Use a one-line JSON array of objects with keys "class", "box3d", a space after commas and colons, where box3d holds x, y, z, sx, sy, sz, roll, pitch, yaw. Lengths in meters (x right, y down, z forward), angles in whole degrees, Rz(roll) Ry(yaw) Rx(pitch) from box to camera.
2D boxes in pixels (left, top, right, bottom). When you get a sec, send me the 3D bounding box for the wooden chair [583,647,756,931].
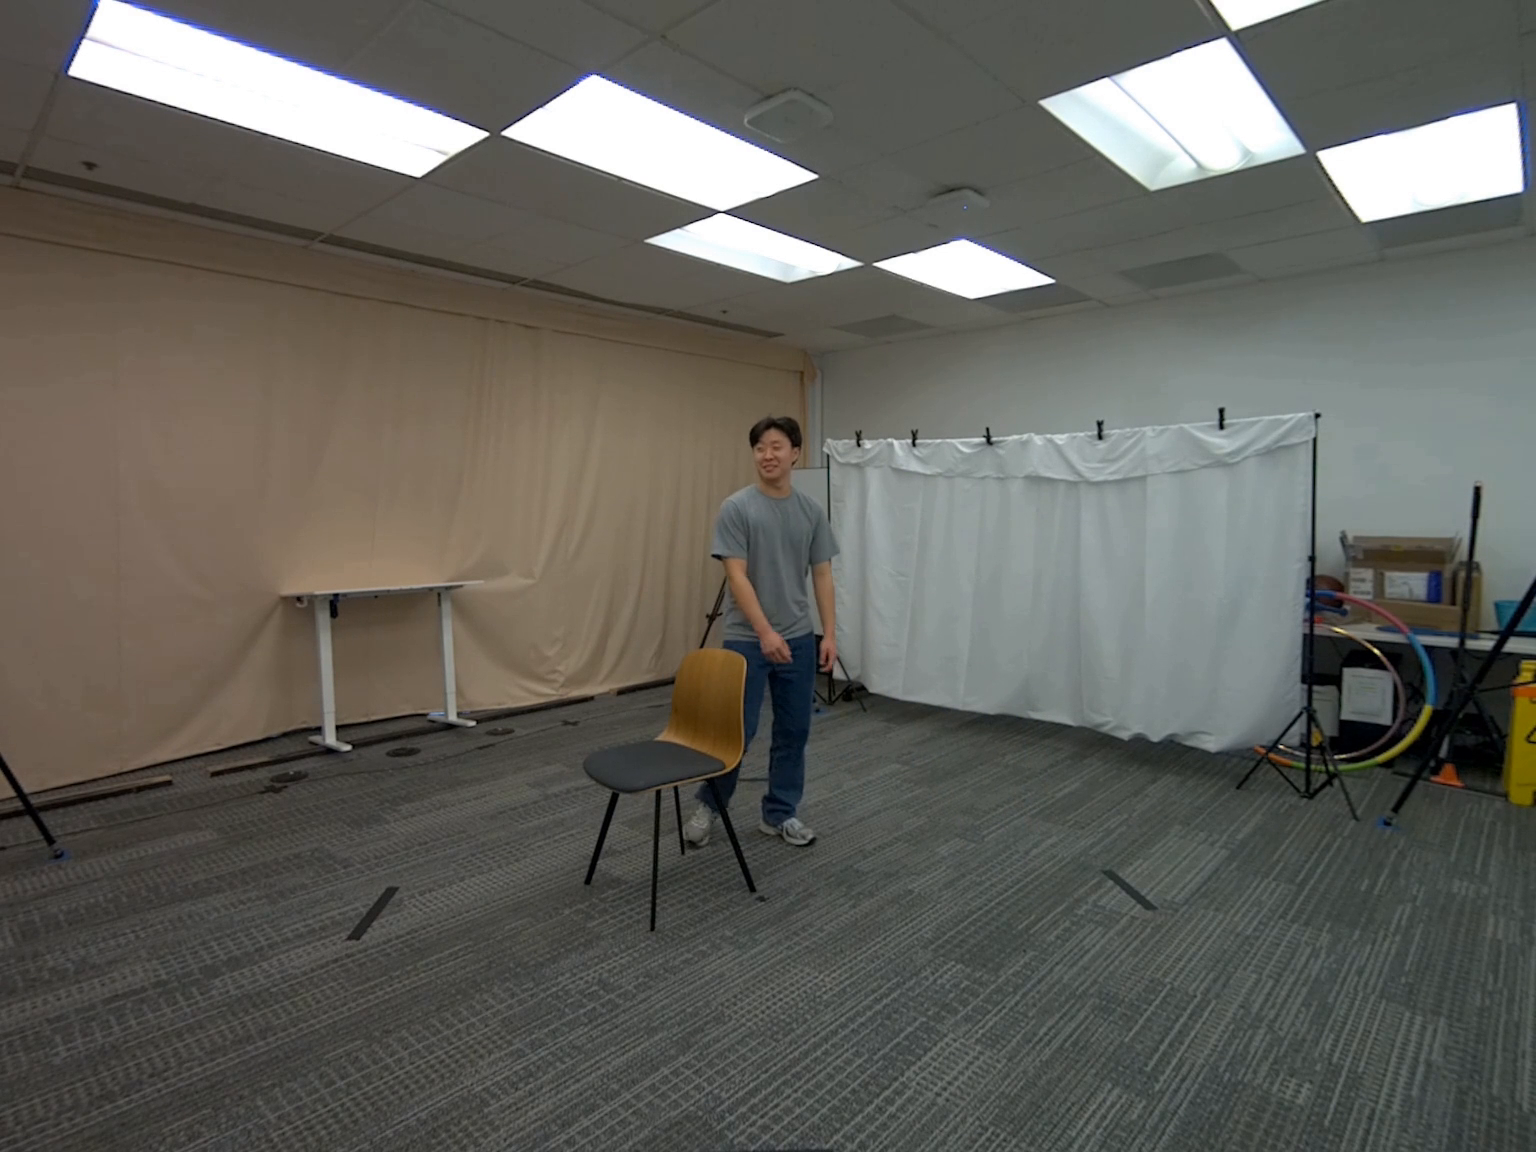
[{"class": "wooden chair", "box3d": [-0.368, 0.716, 3.033, 0.506, 0.877, 0.494, 3, 1, -40]}]
